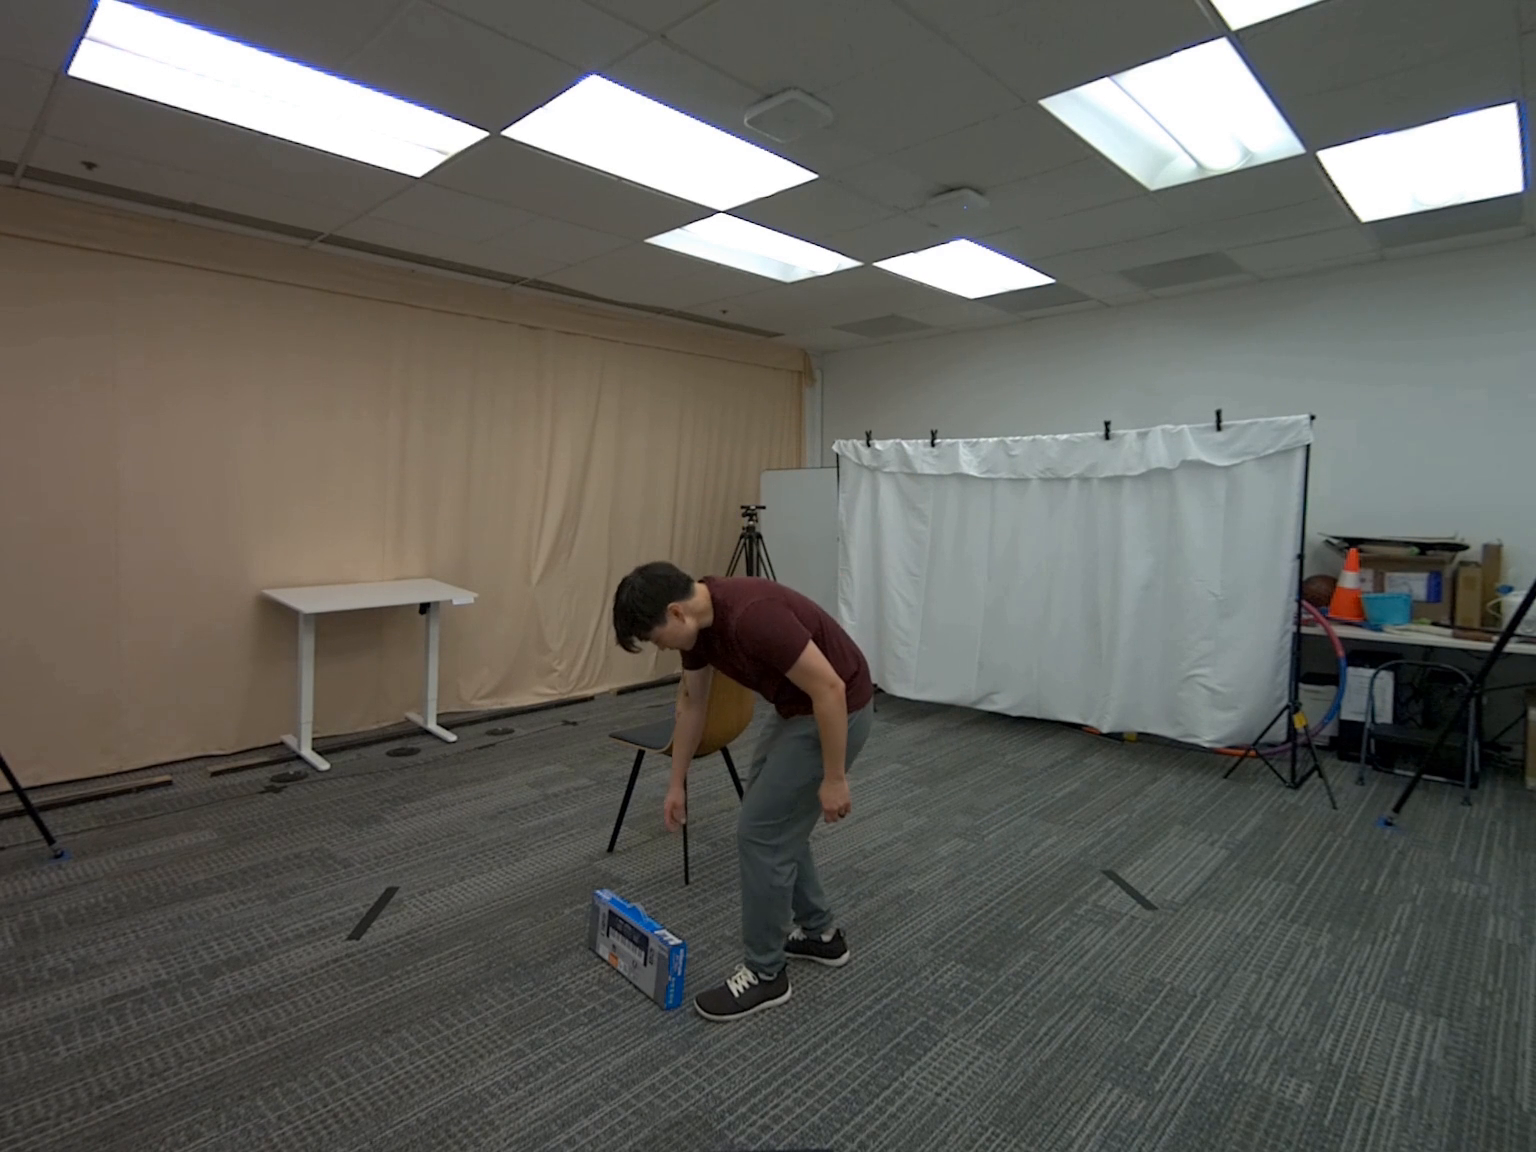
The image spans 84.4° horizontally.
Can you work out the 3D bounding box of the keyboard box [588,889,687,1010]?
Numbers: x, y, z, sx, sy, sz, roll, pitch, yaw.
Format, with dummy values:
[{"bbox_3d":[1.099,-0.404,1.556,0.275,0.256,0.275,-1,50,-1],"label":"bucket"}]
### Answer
[{"bbox_3d":[-0.397,1.094,2.508,0.057,0.176,0.451,6,-1,-40],"label":"keyboard box"}]
